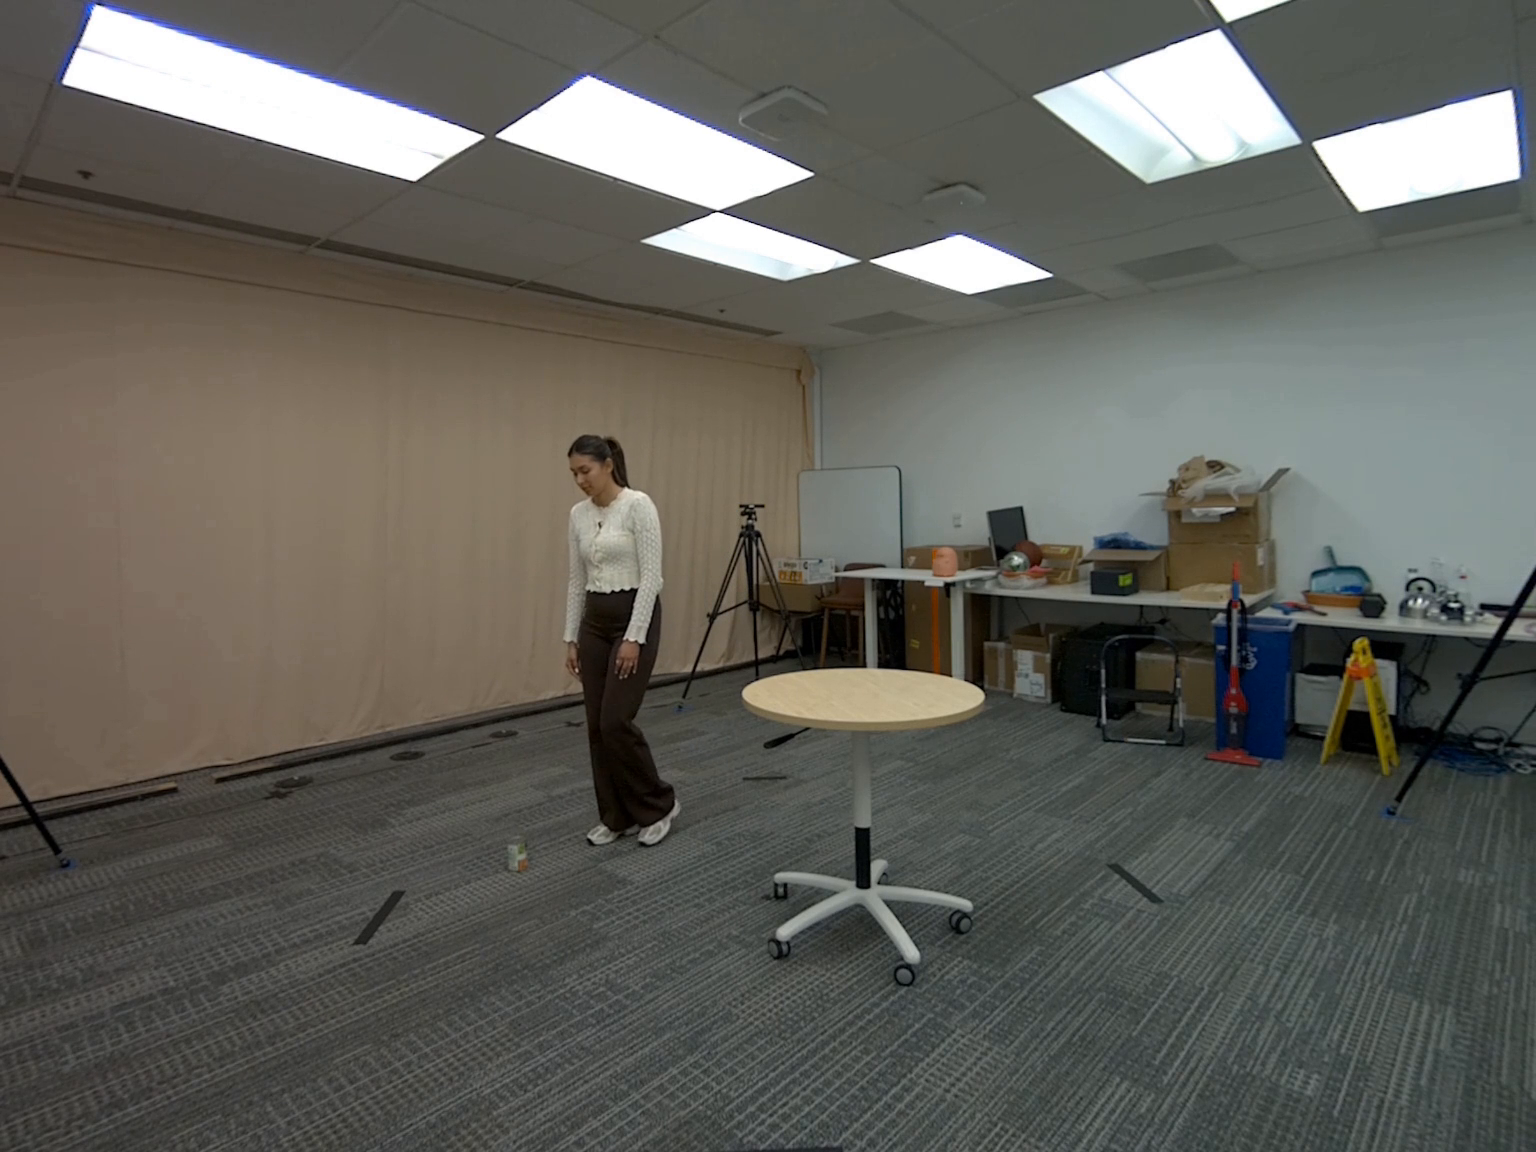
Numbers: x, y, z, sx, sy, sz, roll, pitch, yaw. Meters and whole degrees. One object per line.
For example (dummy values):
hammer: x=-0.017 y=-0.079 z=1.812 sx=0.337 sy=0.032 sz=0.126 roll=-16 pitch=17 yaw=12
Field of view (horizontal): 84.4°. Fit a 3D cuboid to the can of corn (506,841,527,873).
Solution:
can of corn: x=-0.980 y=1.084 z=3.274 sx=0.074 sy=0.111 sz=0.074 roll=-5 pitch=4 yaw=-1
